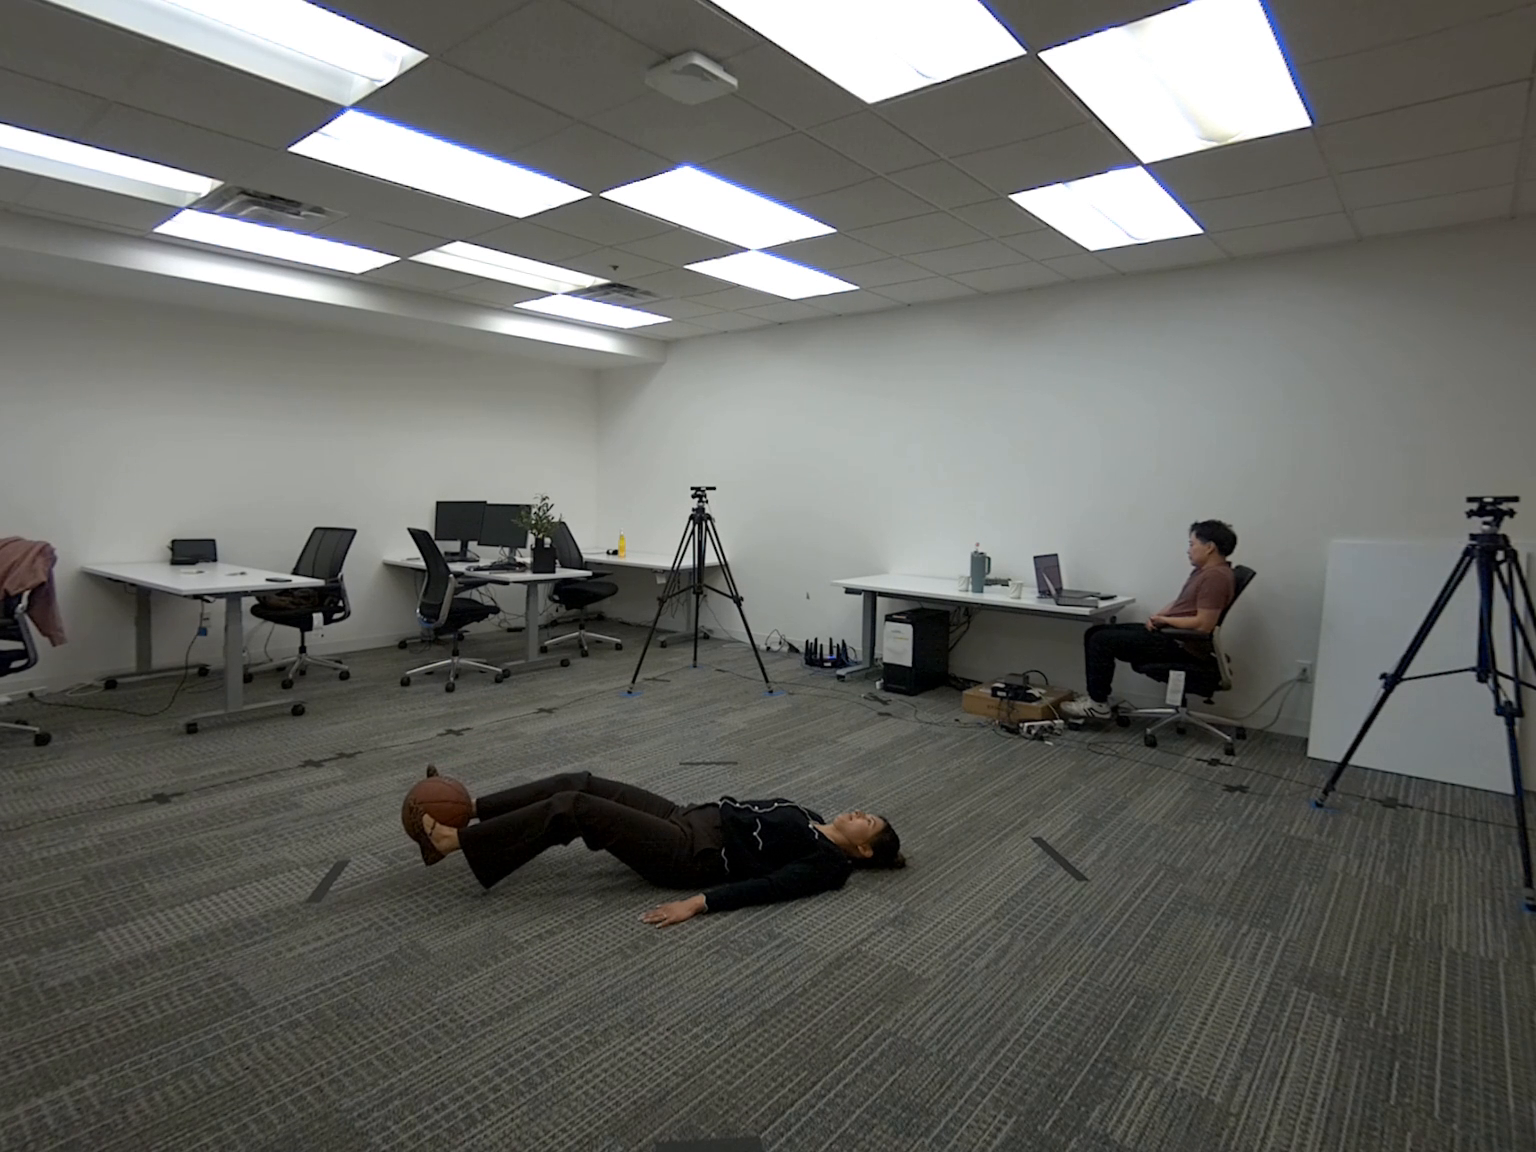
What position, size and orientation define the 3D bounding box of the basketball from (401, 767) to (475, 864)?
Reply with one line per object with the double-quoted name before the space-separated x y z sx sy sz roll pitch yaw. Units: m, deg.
"basketball" -1.178 0.819 2.977 0.236 0.234 0.238 0 7 -2
